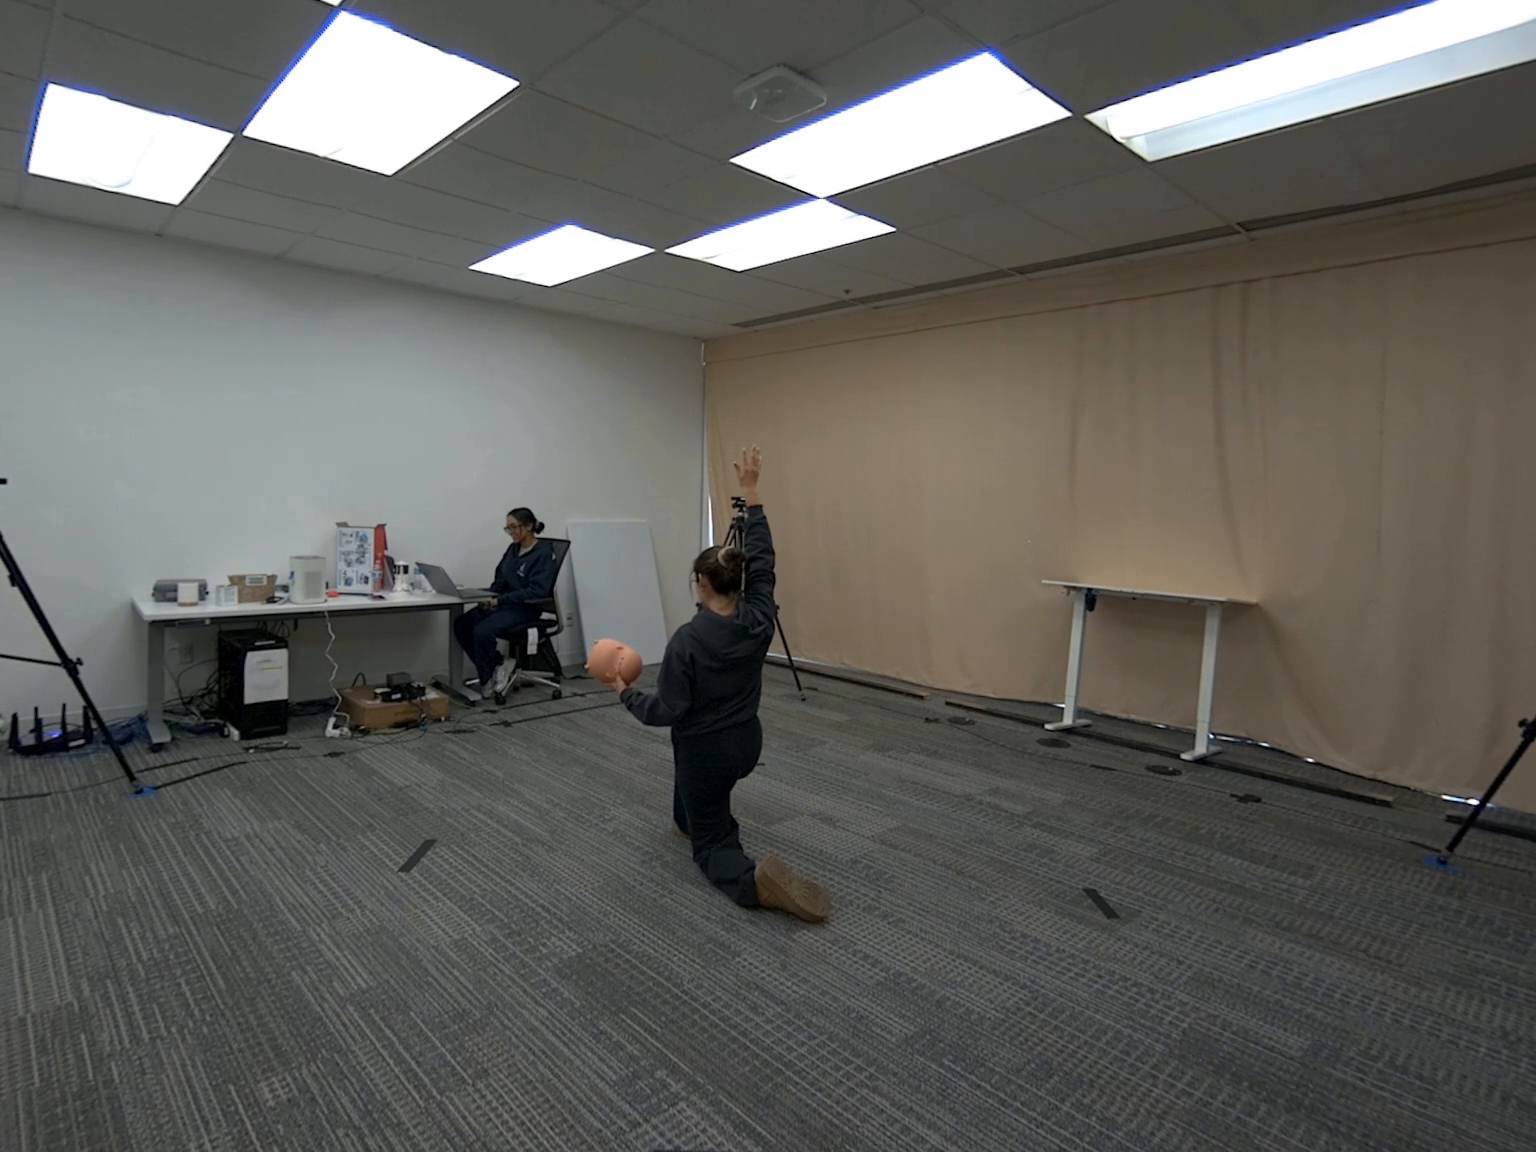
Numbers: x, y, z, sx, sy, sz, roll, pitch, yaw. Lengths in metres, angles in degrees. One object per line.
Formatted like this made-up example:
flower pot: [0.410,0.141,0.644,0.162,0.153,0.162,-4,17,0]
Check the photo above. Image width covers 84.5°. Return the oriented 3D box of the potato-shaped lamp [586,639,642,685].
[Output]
potato-shaped lamp: [-0.587,0.337,3.246,0.202,0.166,0.167,13,-16,20]
